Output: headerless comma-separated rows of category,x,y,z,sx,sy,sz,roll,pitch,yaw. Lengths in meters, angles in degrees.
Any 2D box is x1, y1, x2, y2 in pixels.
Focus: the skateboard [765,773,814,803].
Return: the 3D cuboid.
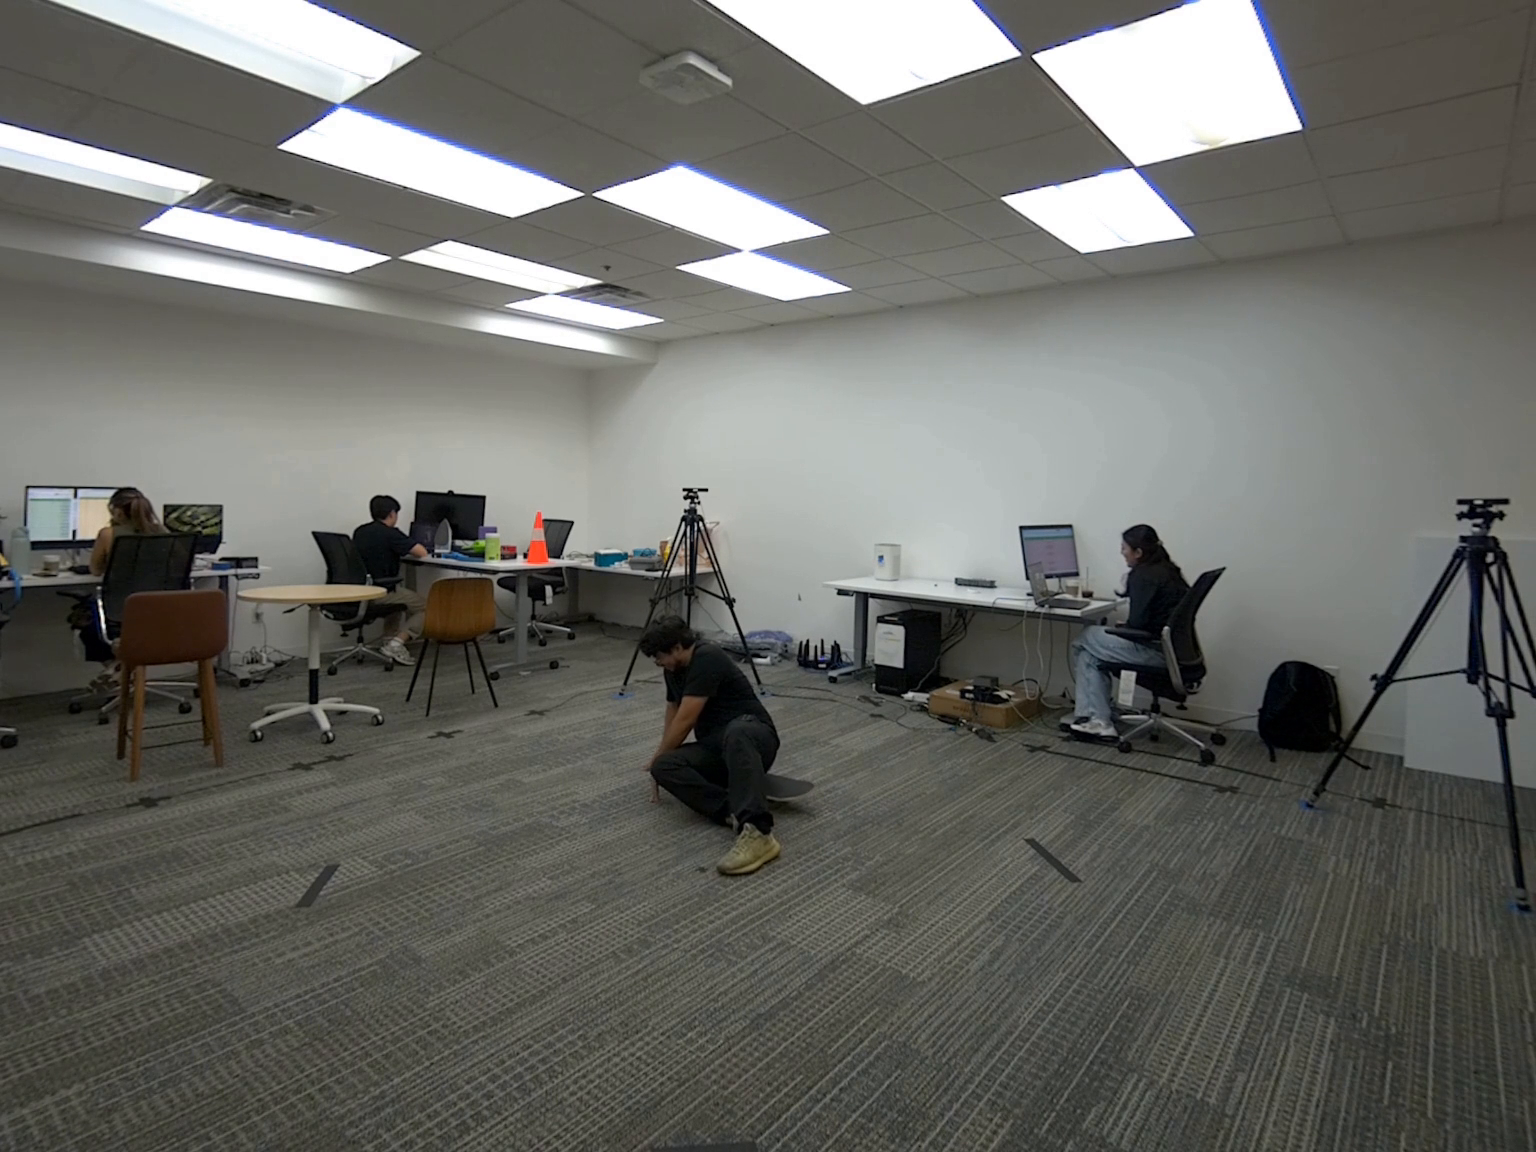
skateboard,-0.159,0.935,3.863,0.808,0.109,0.190,3,14,30
